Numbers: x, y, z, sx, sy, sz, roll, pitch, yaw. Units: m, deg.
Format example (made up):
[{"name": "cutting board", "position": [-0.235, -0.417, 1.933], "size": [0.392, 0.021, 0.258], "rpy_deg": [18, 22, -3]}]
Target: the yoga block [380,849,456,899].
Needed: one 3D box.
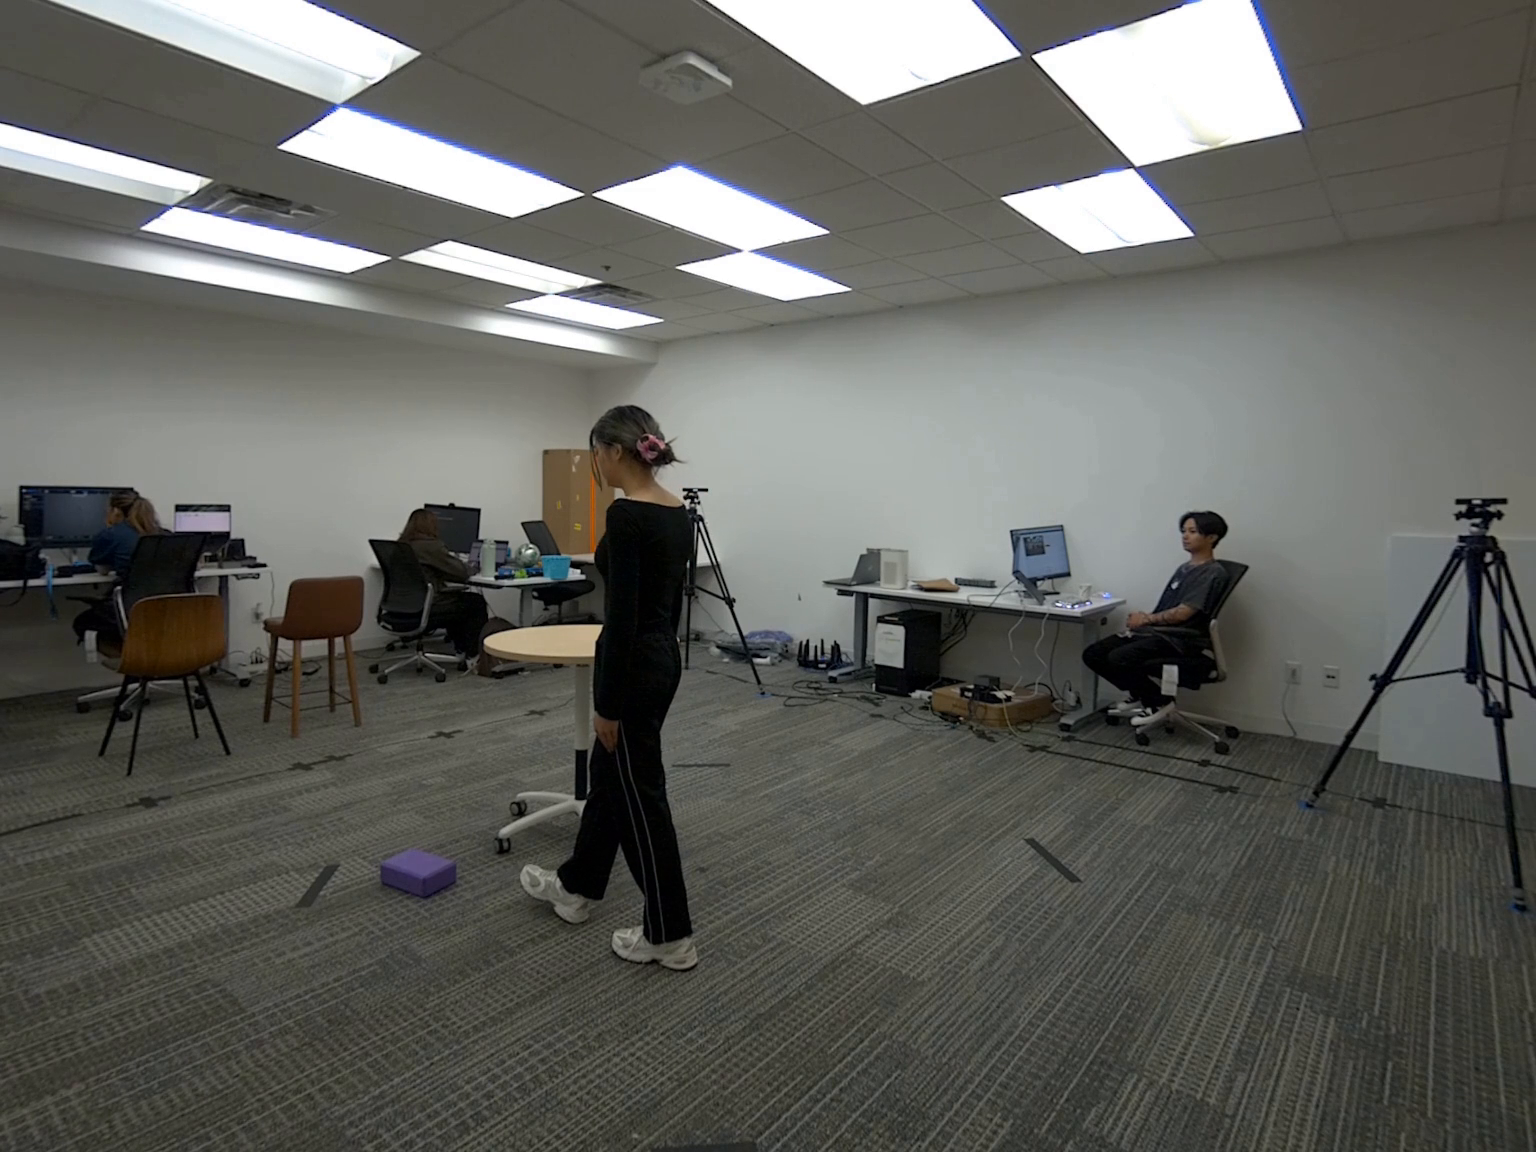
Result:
[{"name": "yoga block", "position": [-1.232, 1.030, 2.963], "size": [0.236, 0.076, 0.145], "rpy_deg": [3, 6, 29]}]
